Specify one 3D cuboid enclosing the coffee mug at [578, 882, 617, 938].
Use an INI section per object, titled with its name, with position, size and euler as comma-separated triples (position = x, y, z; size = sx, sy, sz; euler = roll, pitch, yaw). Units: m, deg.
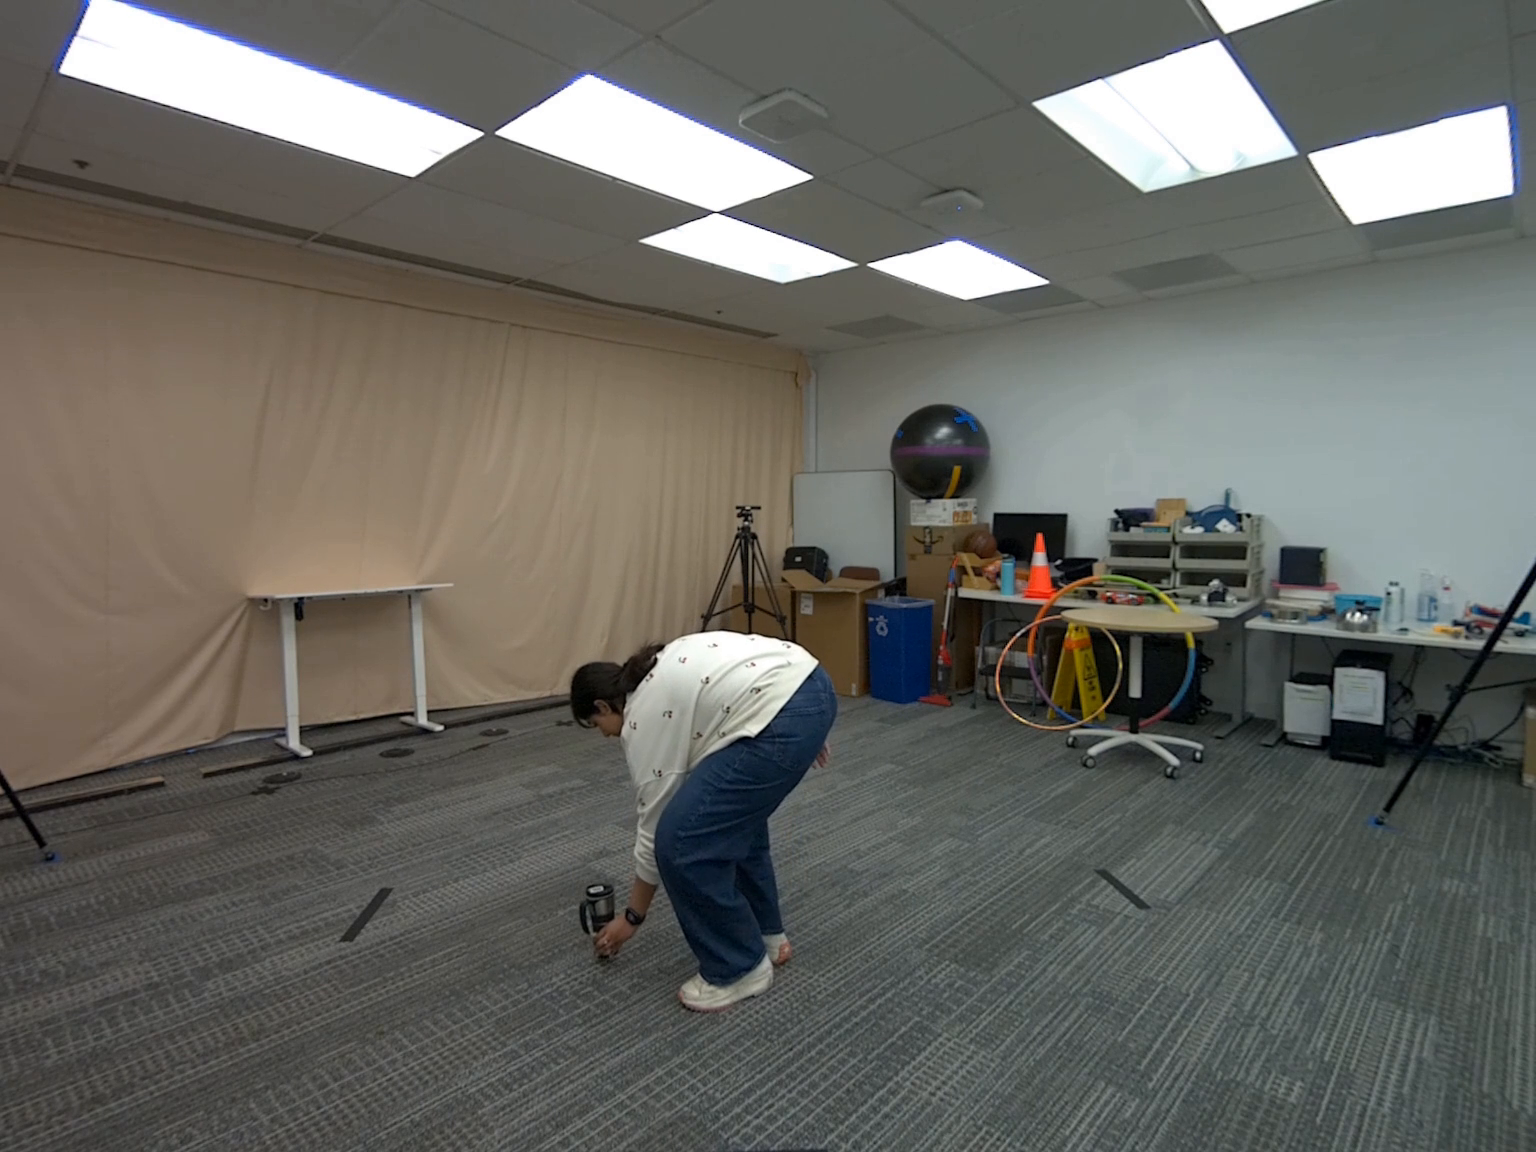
[coffee mug]
position = -0.516, 1.065, 2.558
size = 0.090, 0.203, 0.118
euler = -4, -1, 40
